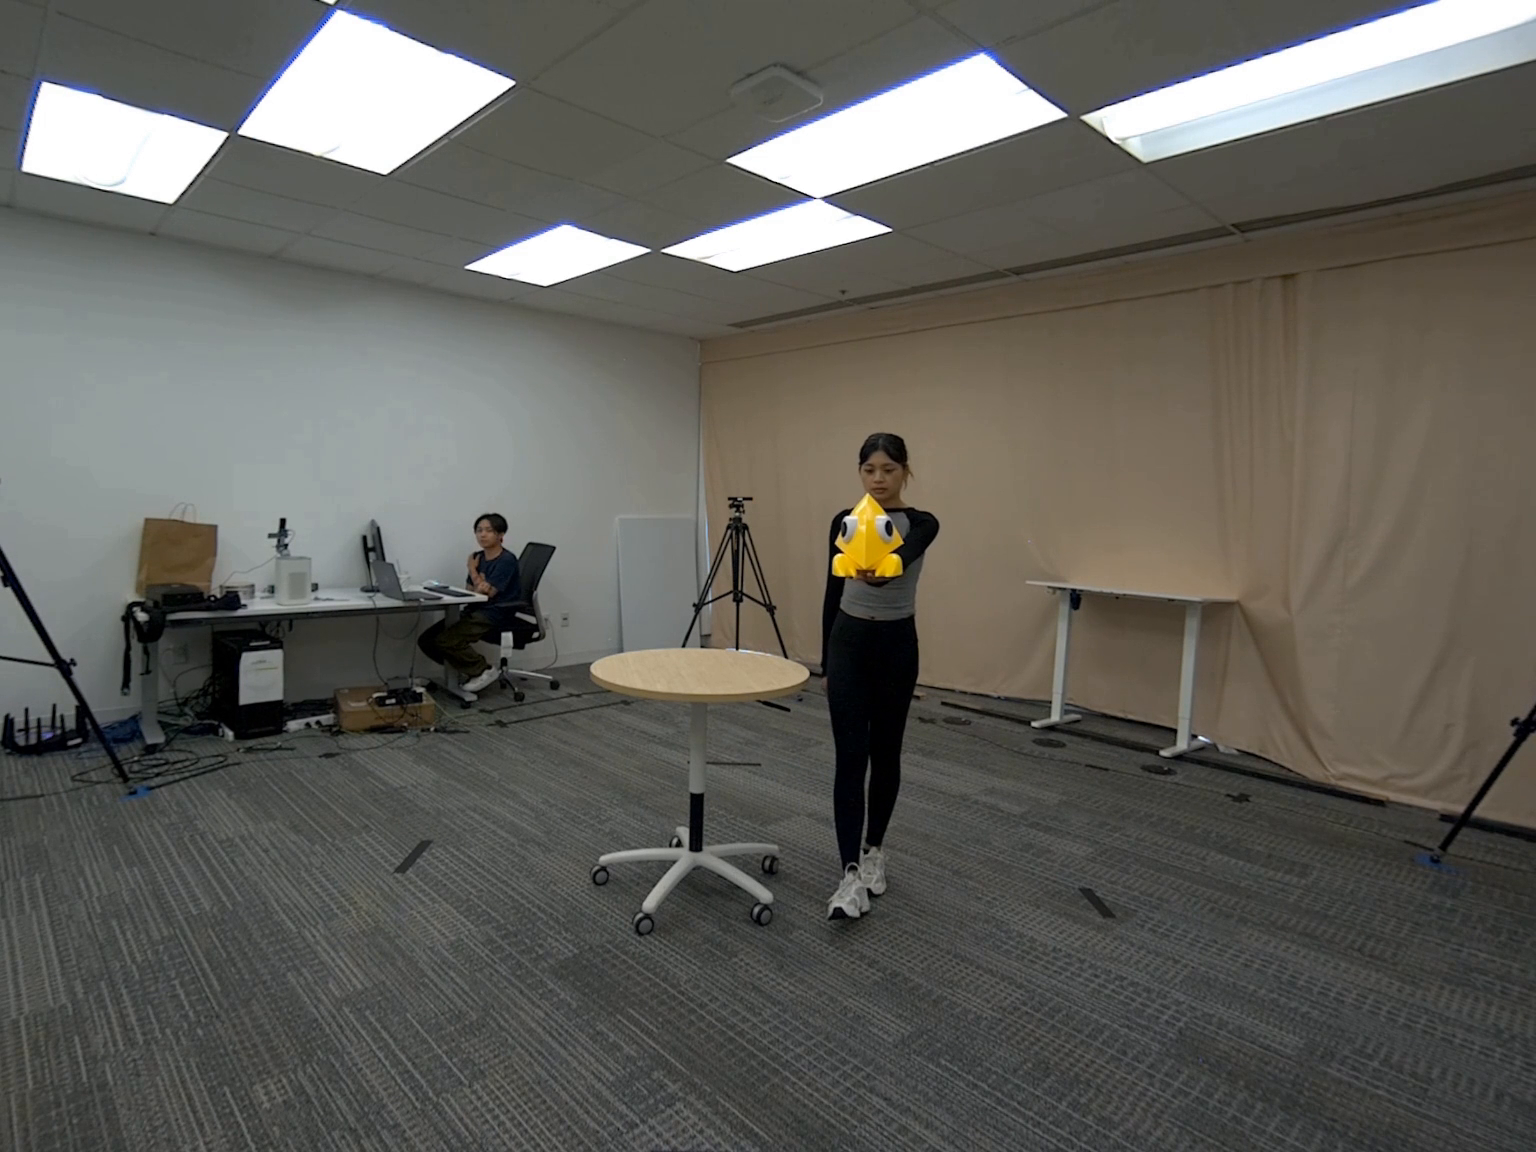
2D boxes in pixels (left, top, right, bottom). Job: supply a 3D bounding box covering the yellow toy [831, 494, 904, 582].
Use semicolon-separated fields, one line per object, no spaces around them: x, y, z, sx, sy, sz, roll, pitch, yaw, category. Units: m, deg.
0.277;-0.122;2.441;0.207;0.230;0.191;0;5;13;yellow toy
